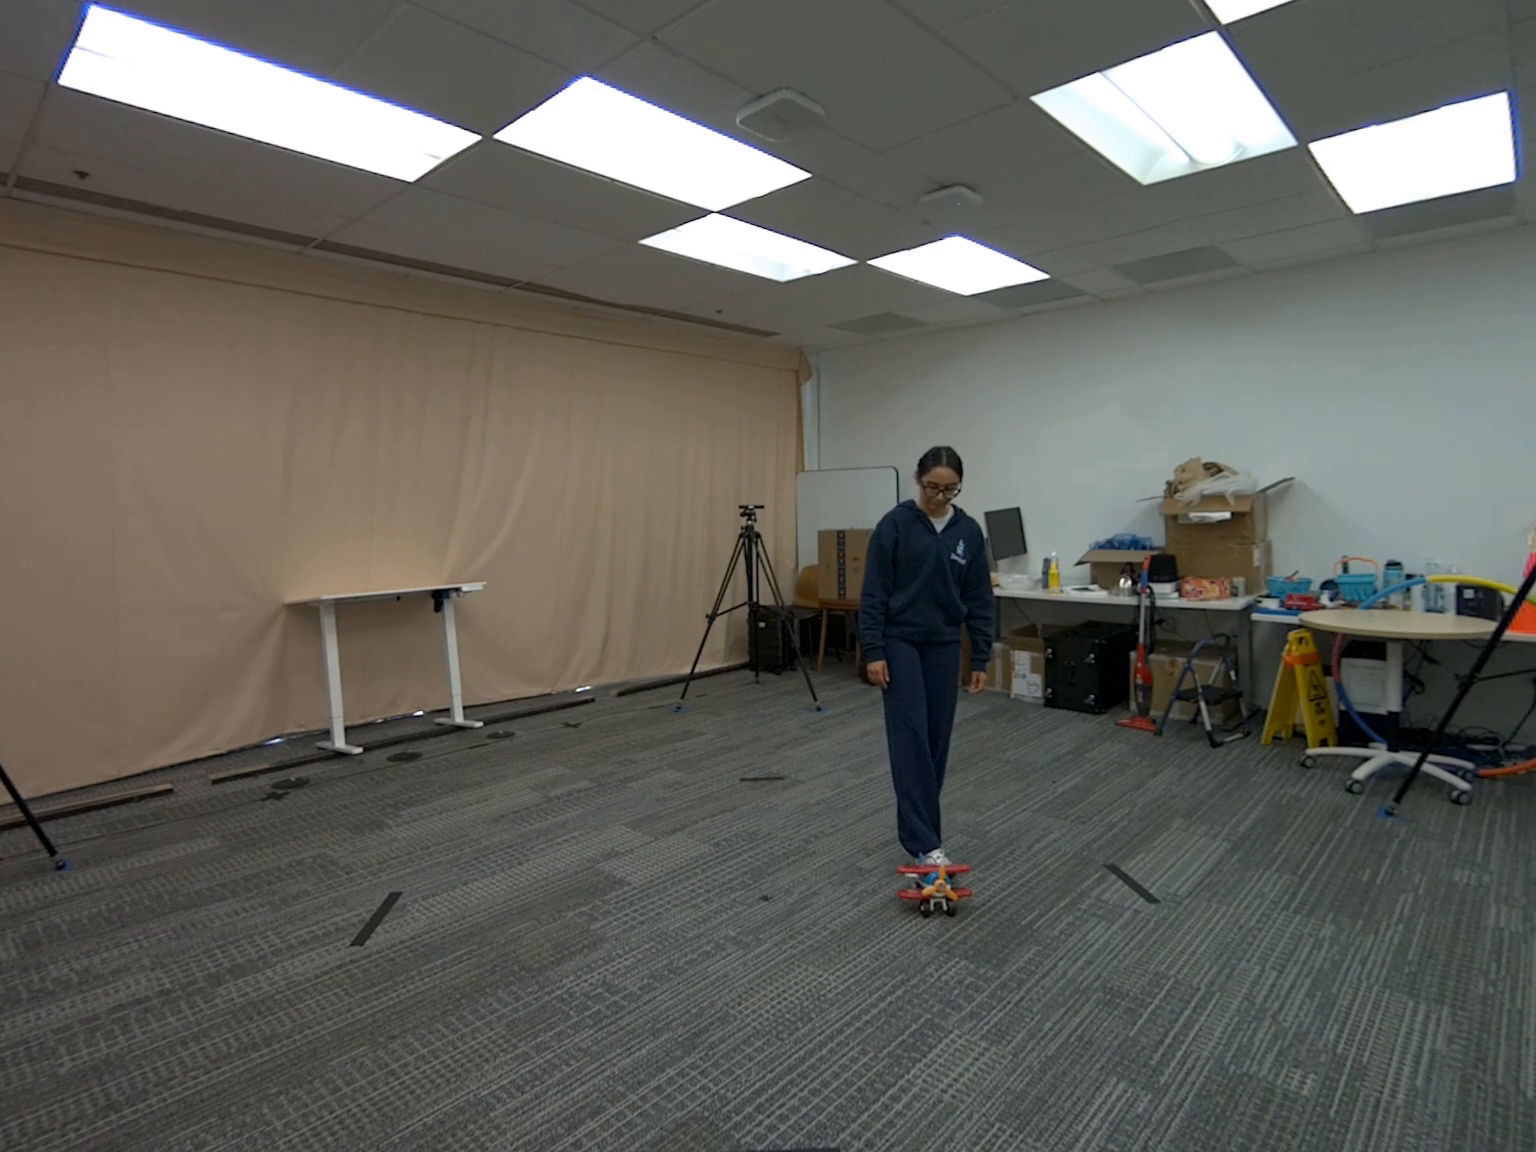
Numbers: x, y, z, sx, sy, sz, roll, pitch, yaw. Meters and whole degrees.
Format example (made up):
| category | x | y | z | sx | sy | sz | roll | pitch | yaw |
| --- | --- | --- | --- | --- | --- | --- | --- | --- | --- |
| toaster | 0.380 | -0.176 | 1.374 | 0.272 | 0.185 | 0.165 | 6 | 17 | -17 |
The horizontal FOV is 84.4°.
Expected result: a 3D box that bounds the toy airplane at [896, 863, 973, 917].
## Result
| category | x | y | z | sx | sy | sz | roll | pitch | yaw |
| --- | --- | --- | --- | --- | --- | --- | --- | --- | --- |
| toy airplane | 0.549 | 1.063 | 2.905 | 0.244 | 0.156 | 0.267 | -3 | 6 | -32 |
